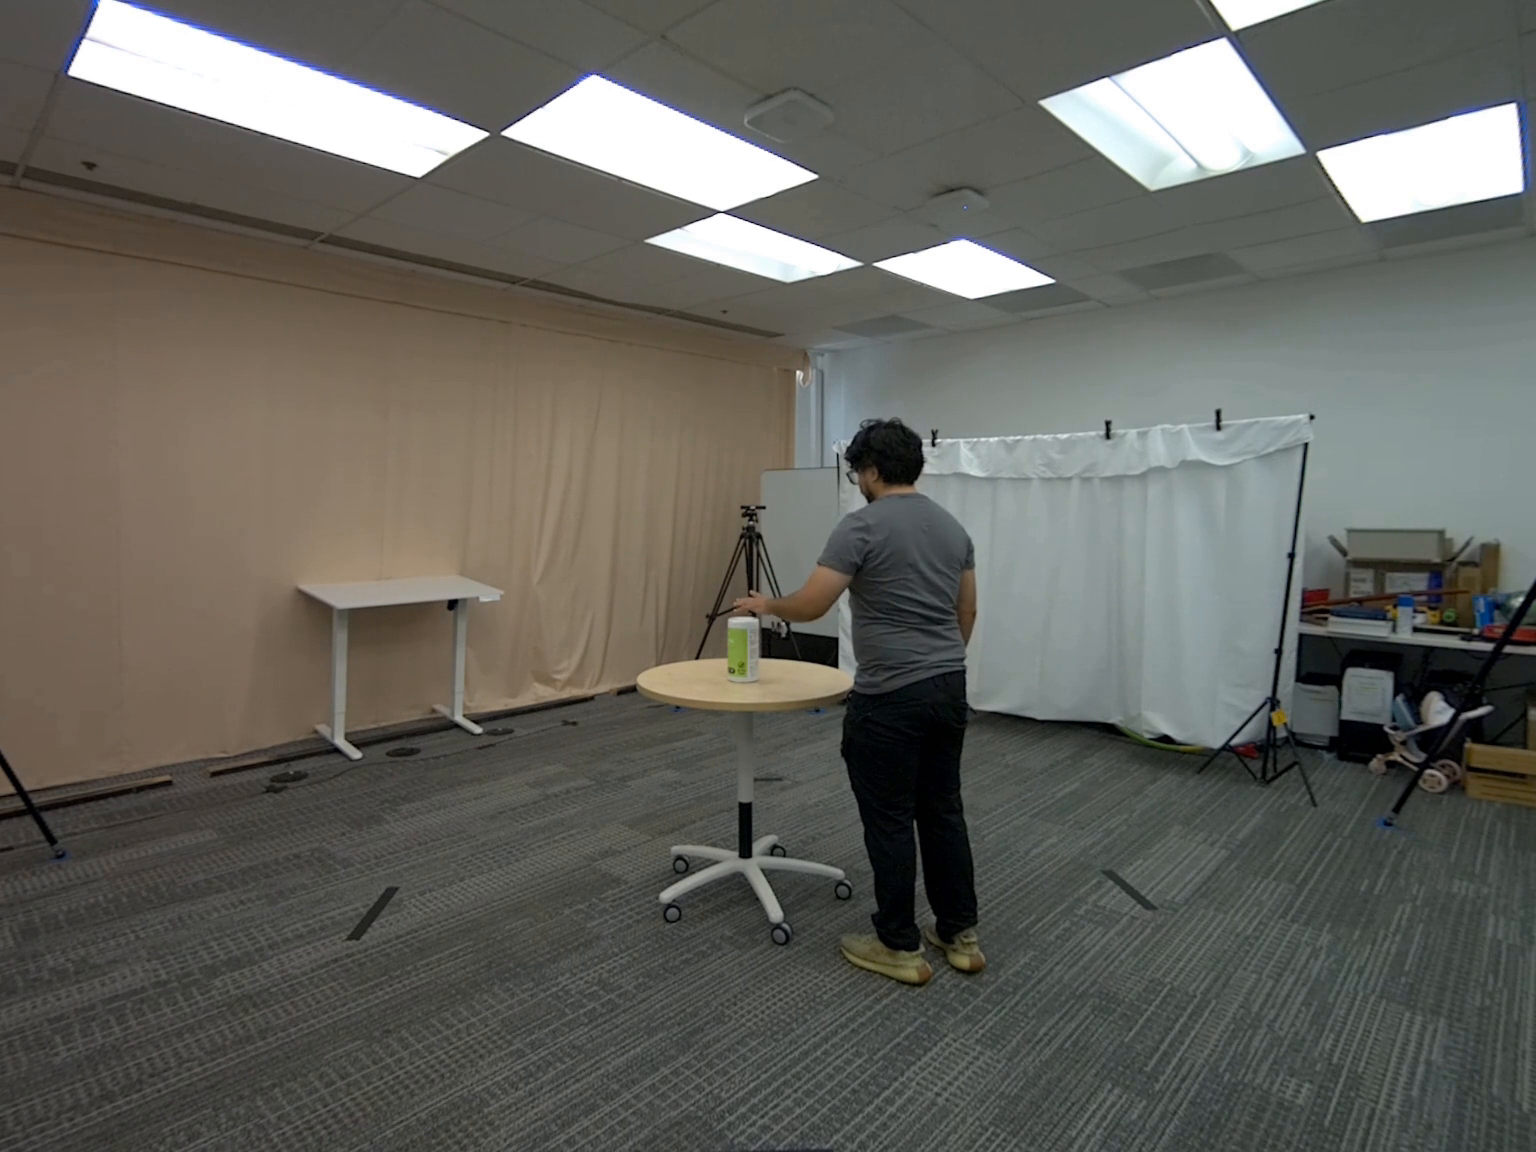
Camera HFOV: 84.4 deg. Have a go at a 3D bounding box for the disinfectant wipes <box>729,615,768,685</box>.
[{"bbox_3d":[-0.072,0.252,2.933,0.117,0.217,0.118,2,4,-2],"label":"disinfectant wipes"}]
